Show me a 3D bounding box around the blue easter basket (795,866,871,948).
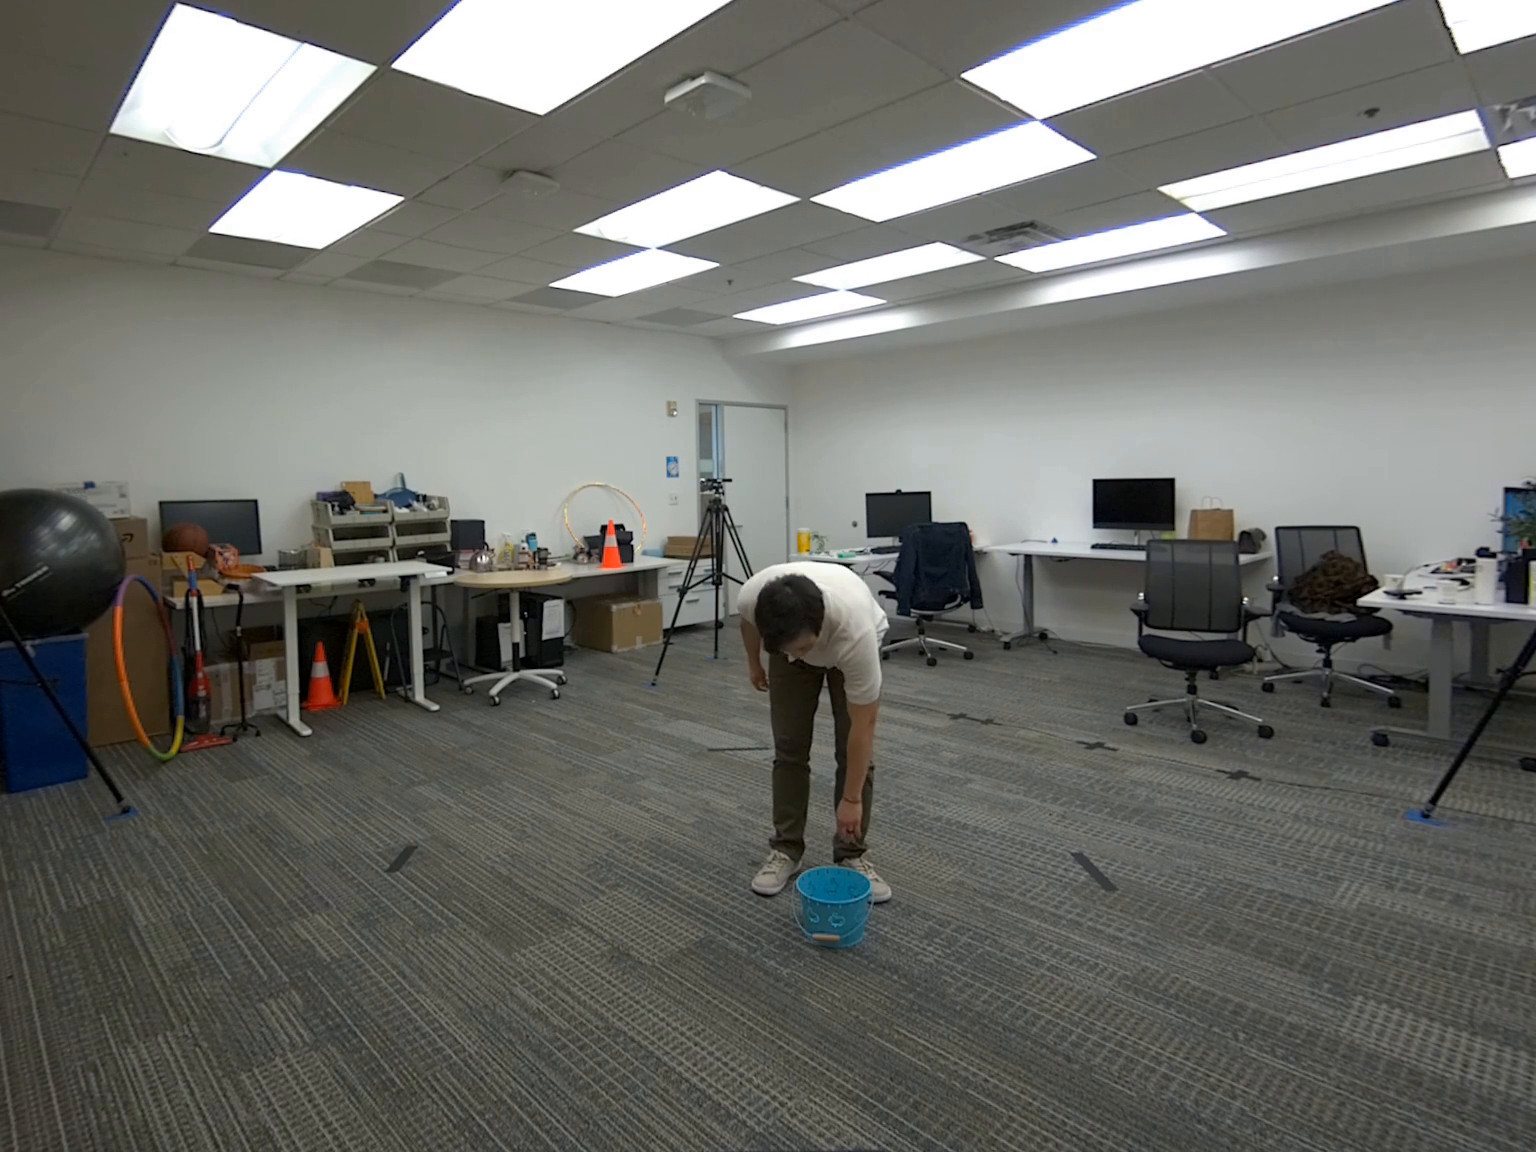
[{"bbox_3d":[0.201,1.021,2.624,0.243,0.155,0.245,-1,5,-2],"label":"blue easter basket"}]
